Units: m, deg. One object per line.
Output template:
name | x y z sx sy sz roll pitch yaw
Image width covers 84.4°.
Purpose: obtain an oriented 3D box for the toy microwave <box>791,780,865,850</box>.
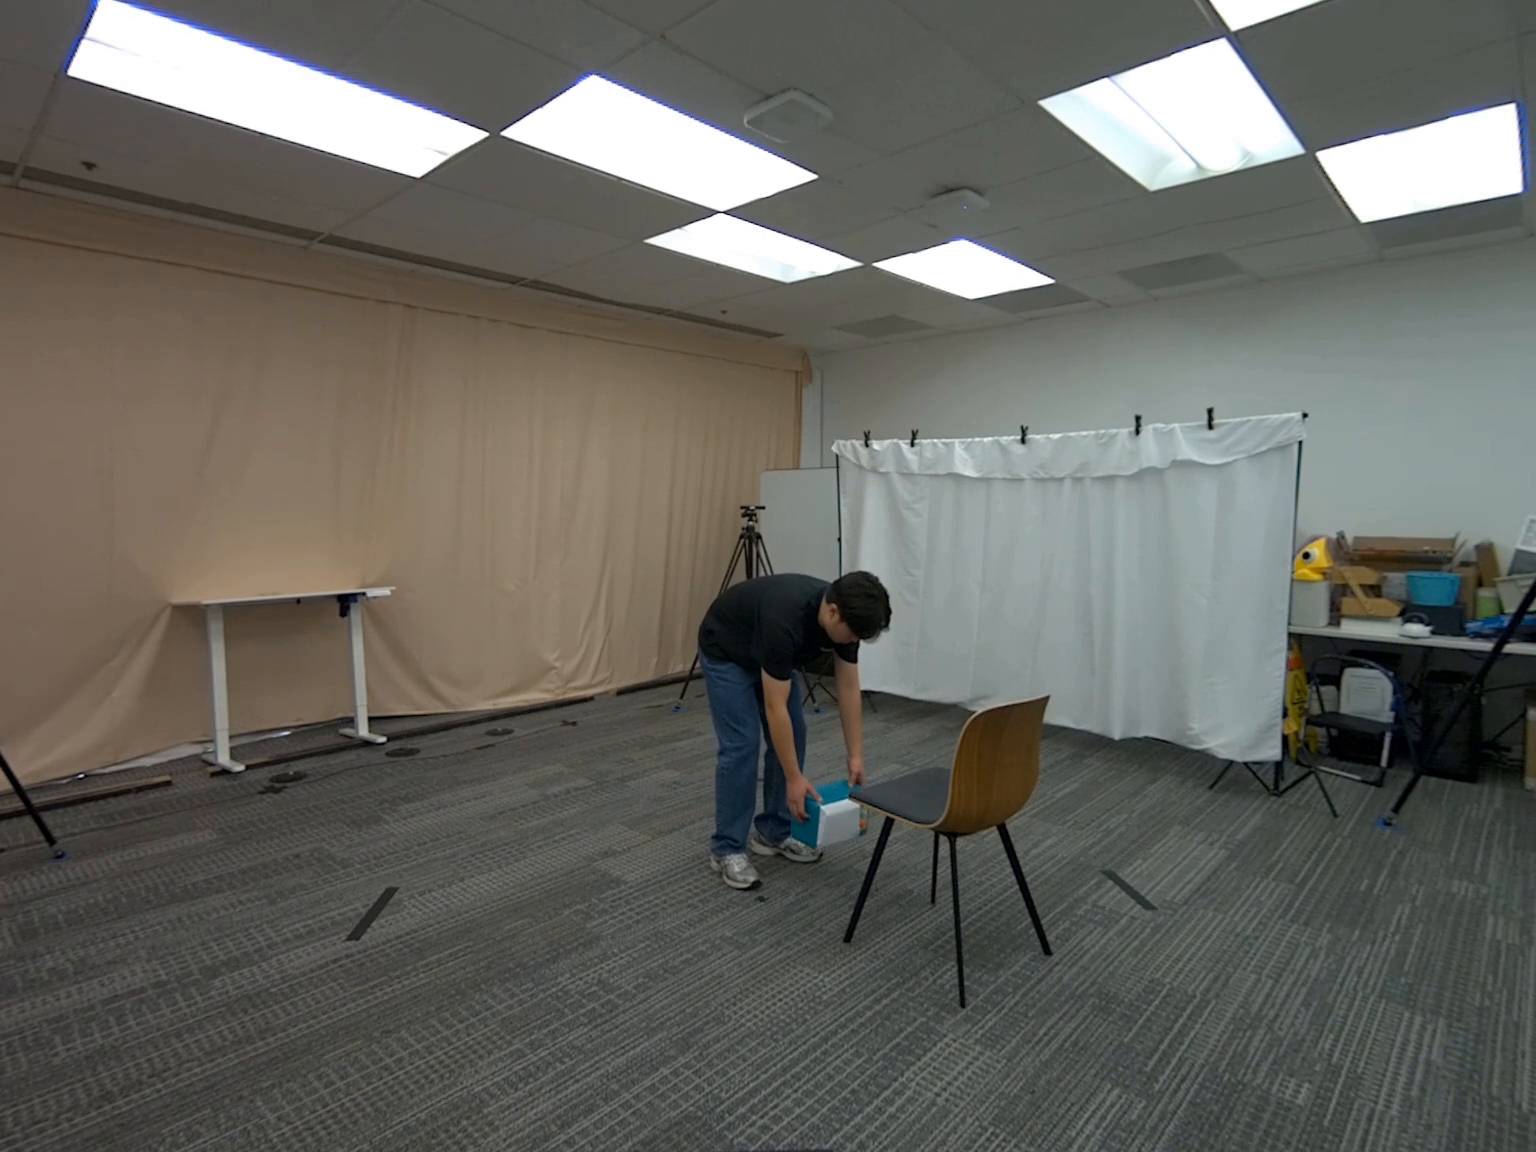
toy microwave | 0.243 0.877 3.077 0.277 0.183 0.157 -1 7 -37
